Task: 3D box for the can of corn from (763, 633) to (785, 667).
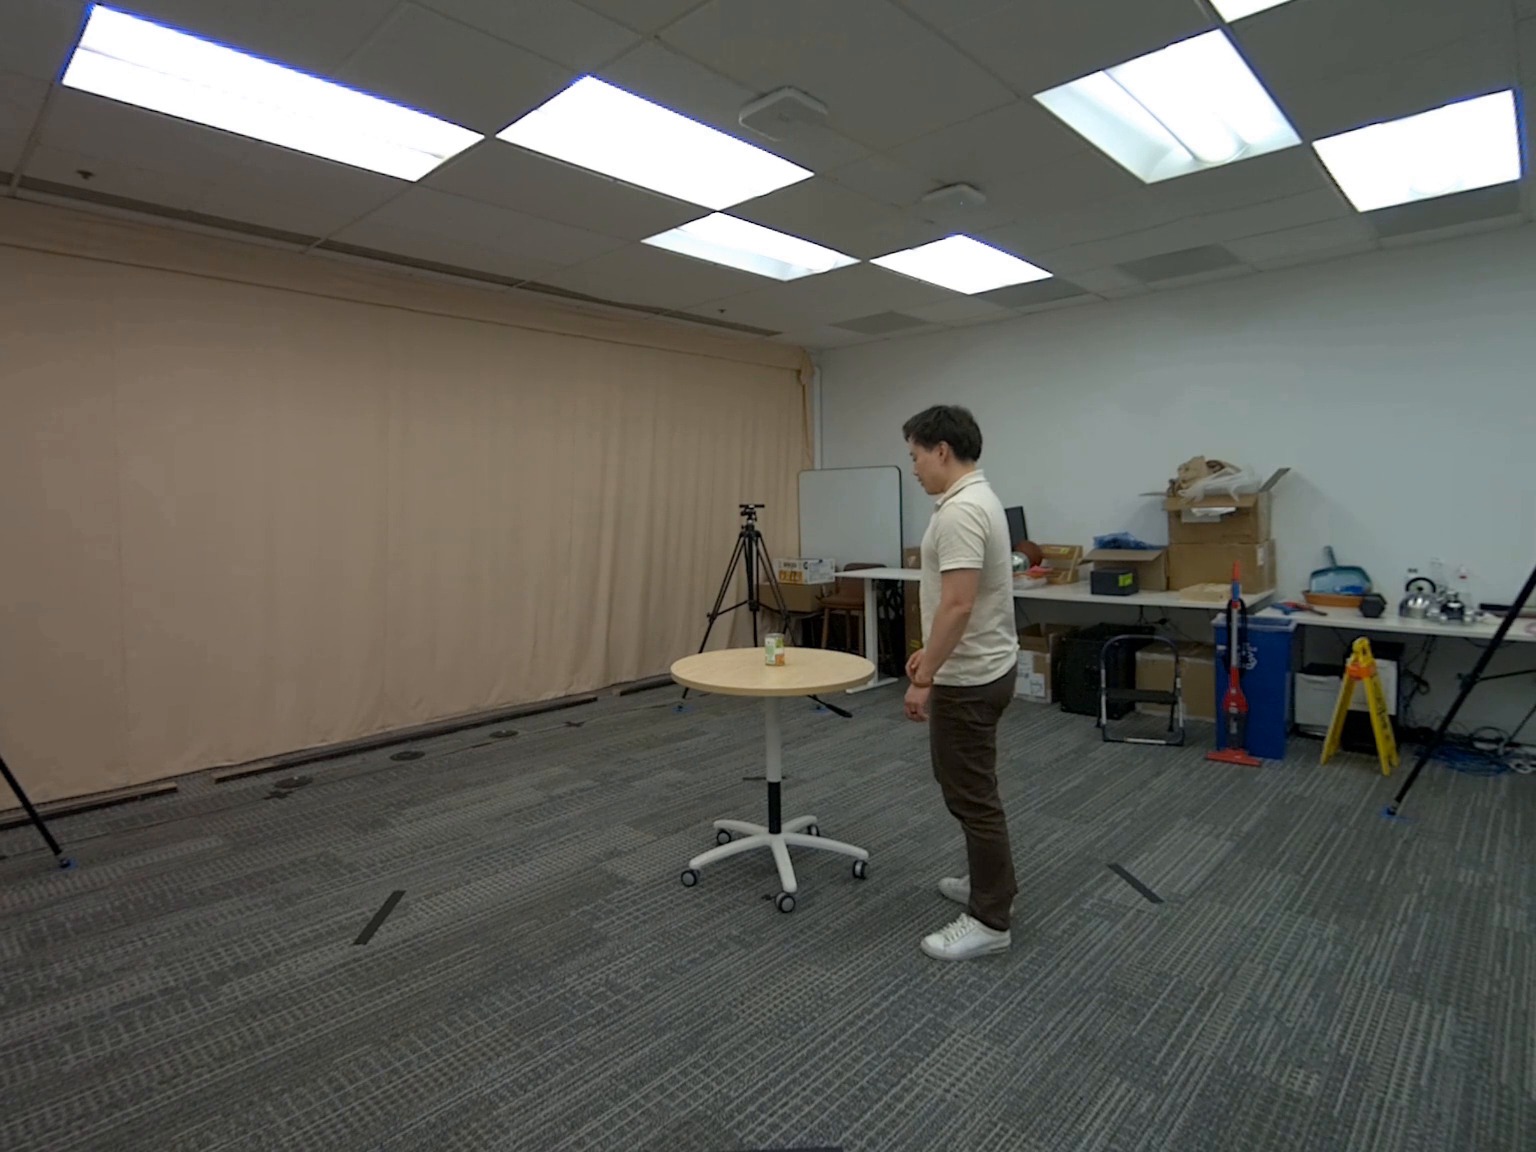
[{"bbox_3d":[0.028,0.279,3.195,0.074,0.111,0.074,-2,5,-2],"label":"can of corn"}]
